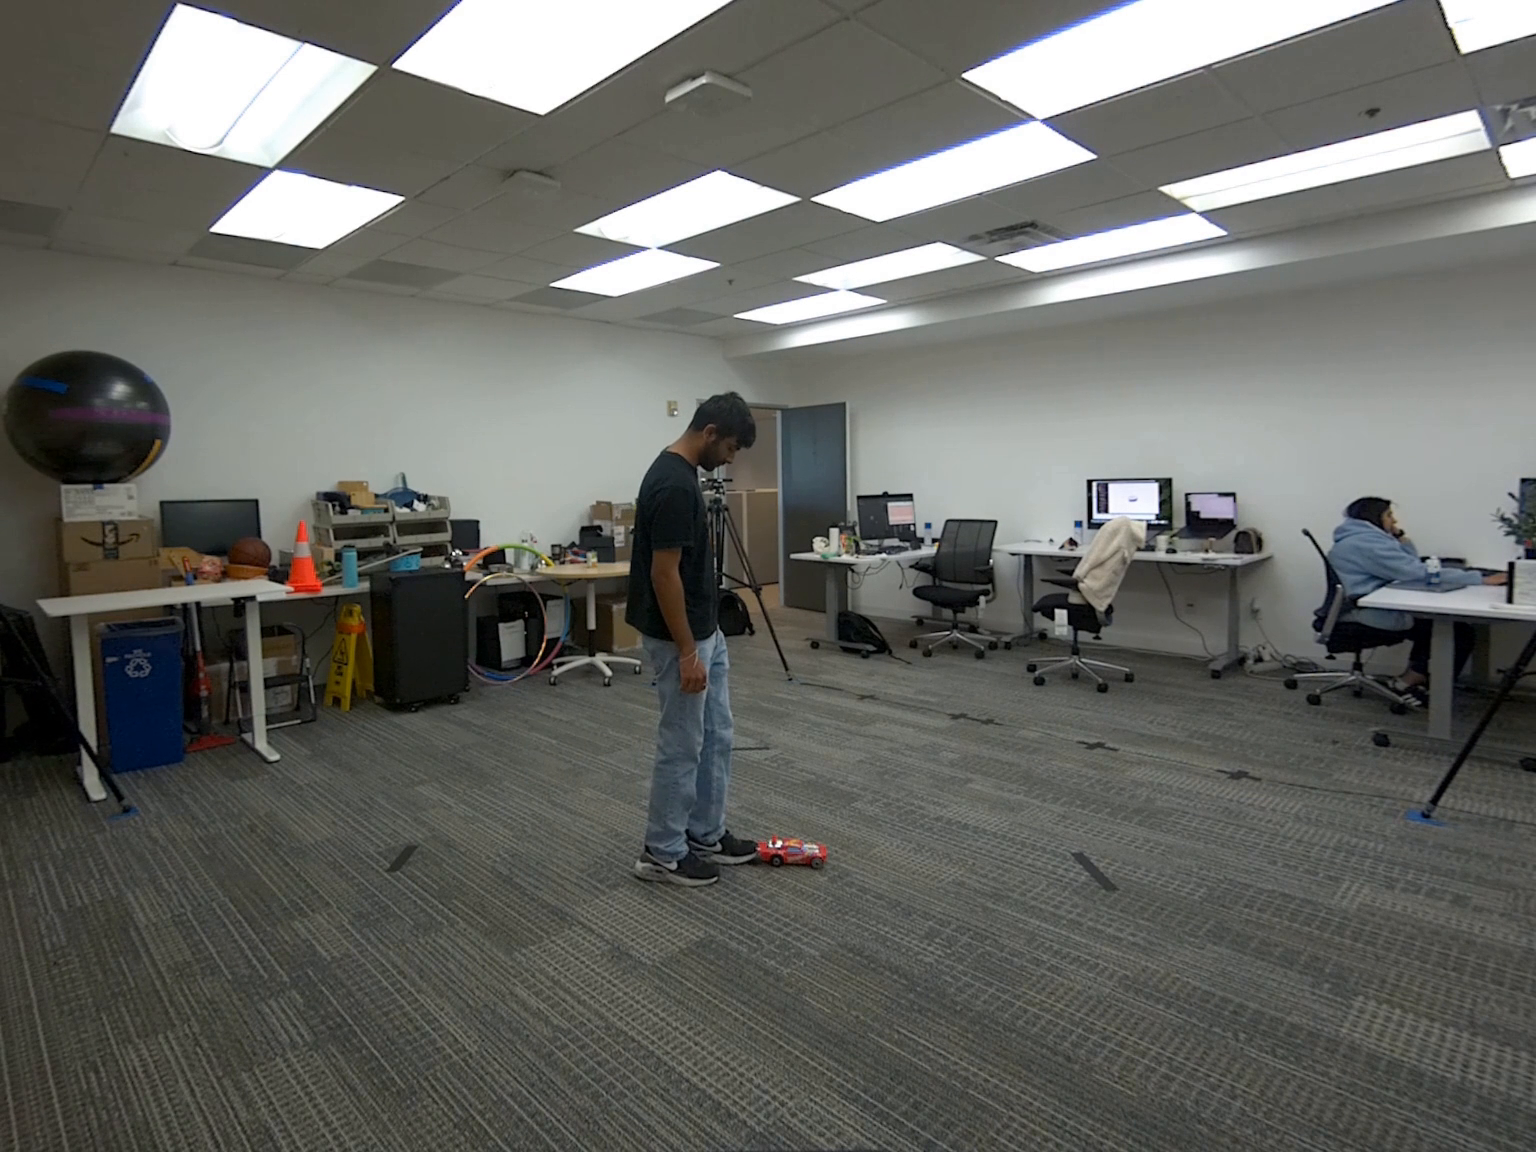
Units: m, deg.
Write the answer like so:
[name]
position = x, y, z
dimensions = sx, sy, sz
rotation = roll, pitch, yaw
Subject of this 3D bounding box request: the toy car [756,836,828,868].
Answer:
[toy car]
position = 0.078, 1.001, 3.113
dimensions = 0.256, 0.083, 0.130
rotation = 12, 6, 6
